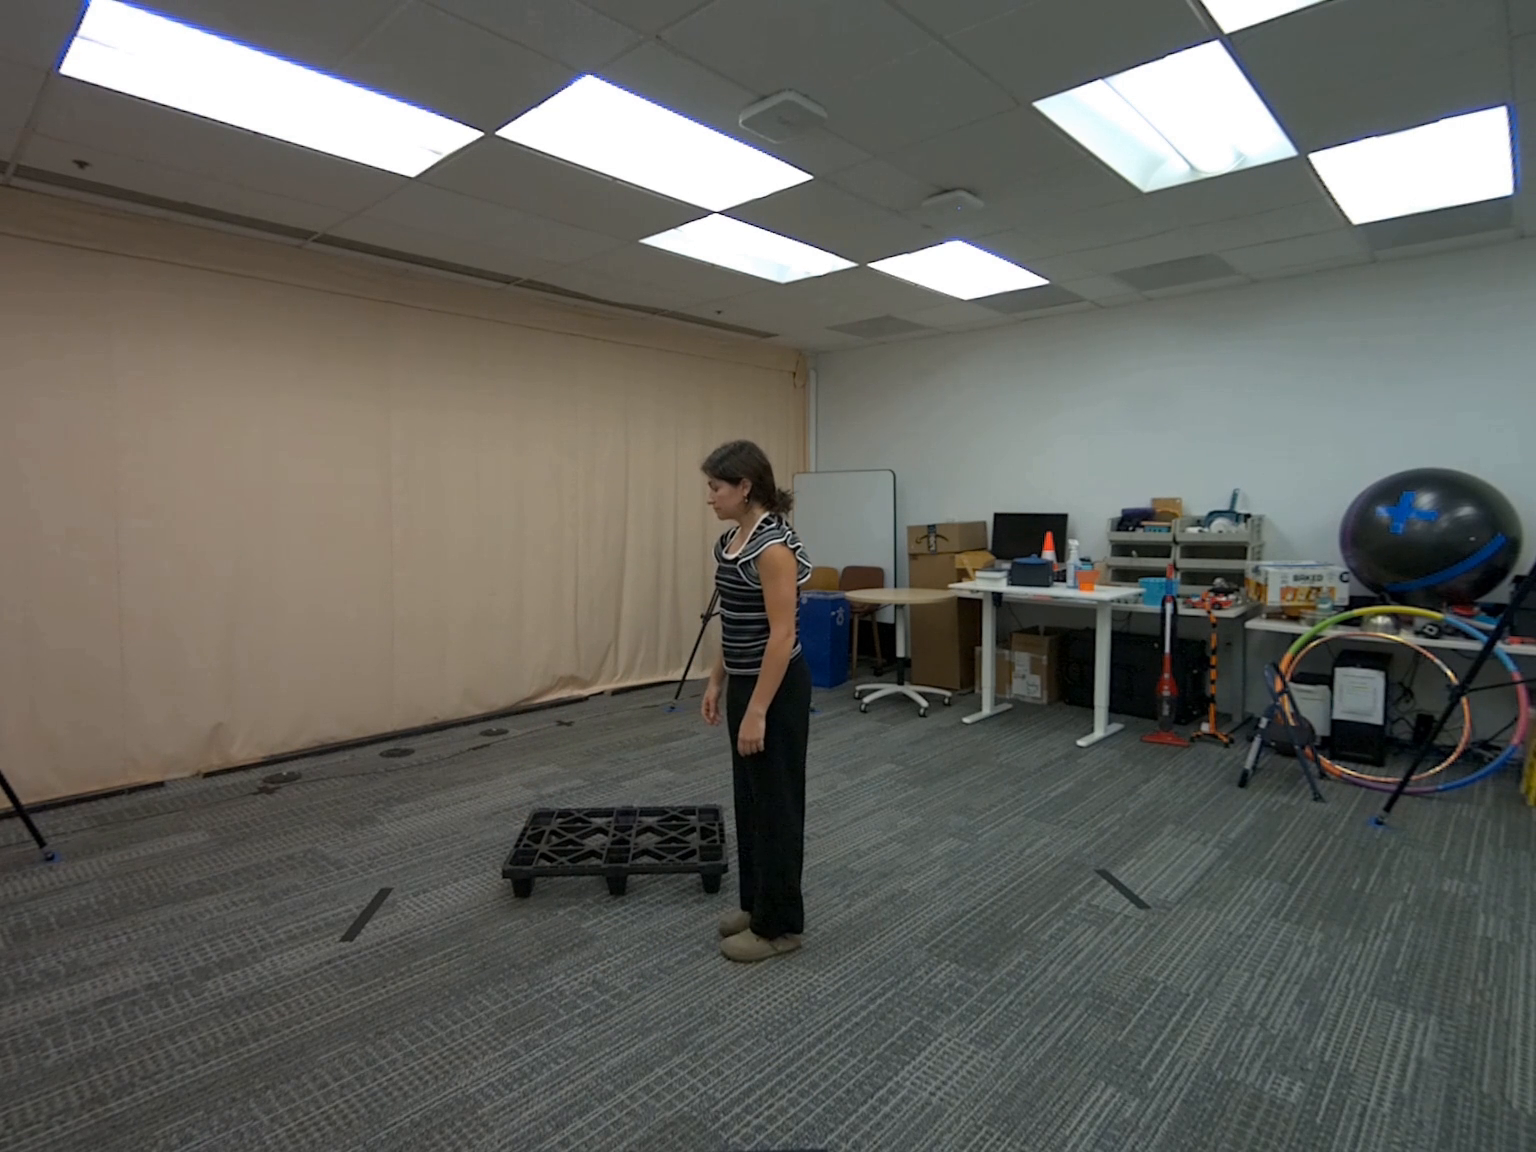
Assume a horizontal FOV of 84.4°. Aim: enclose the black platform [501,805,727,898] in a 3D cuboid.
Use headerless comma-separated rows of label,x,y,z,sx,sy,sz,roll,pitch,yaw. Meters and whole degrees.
black platform,-0.564,1.060,3.248,0.804,0.143,0.608,0,4,-3
